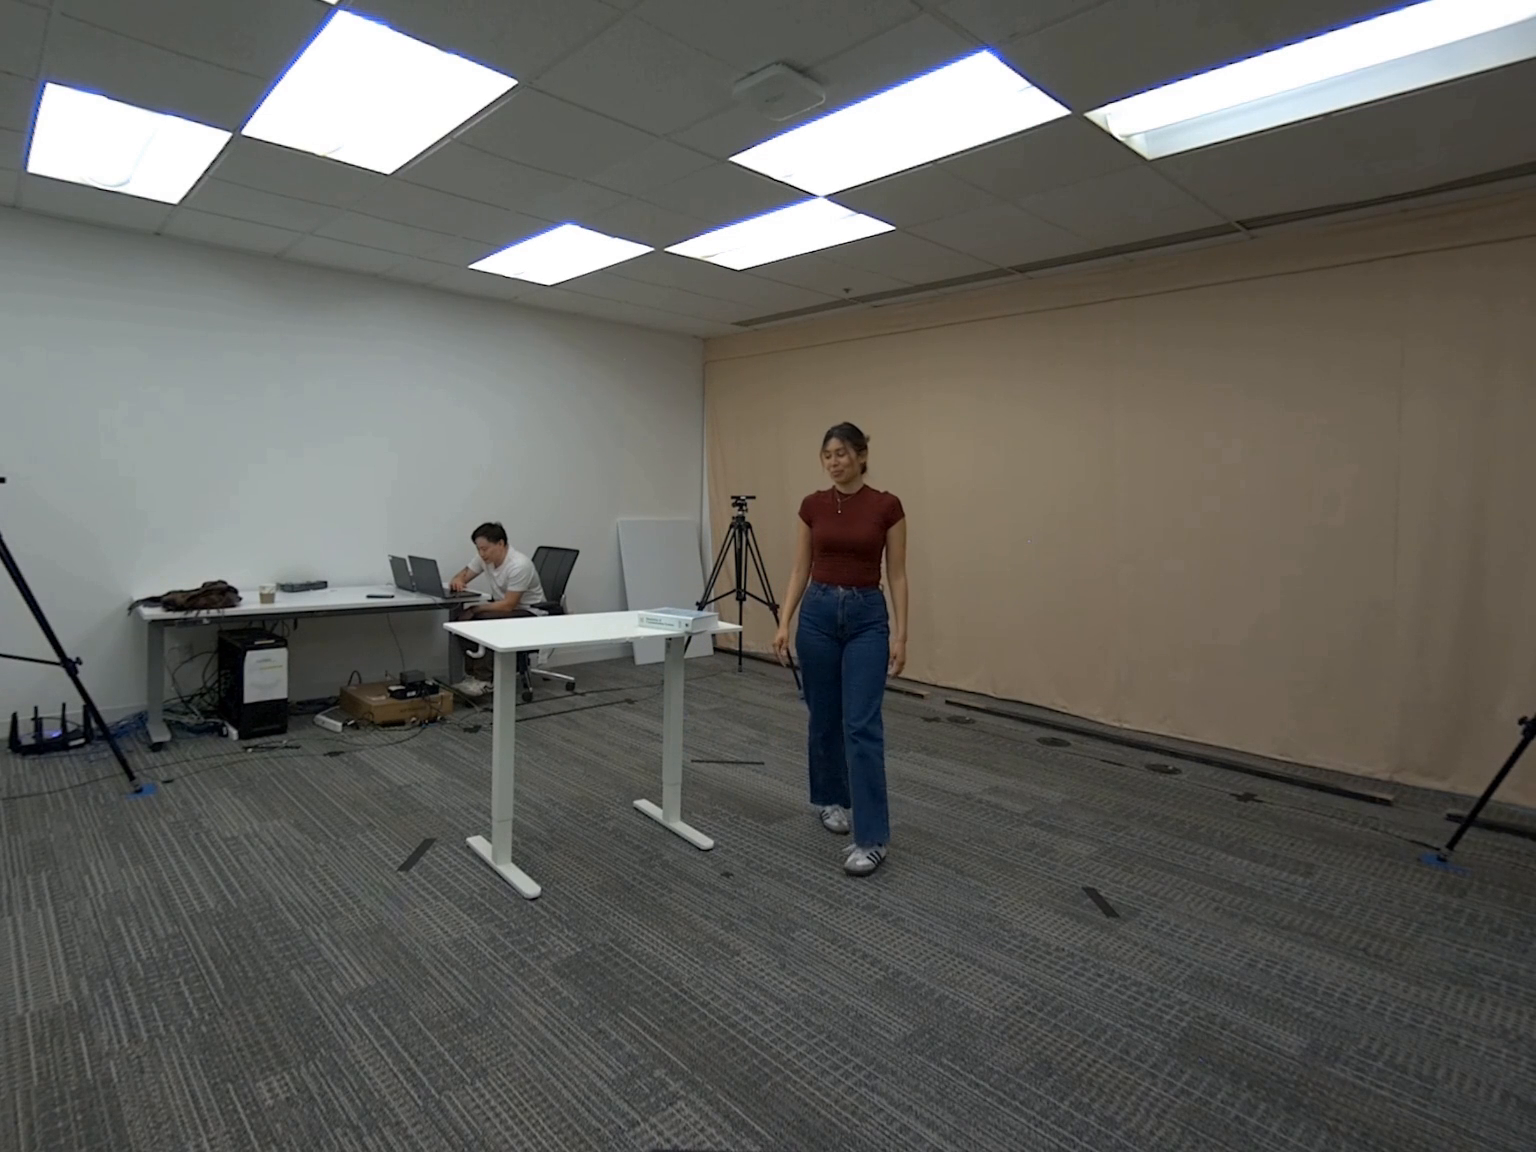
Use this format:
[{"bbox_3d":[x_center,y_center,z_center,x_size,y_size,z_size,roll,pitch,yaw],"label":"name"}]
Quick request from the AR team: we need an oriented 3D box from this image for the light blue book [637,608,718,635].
[{"bbox_3d":[-0.355,0.168,3.301,0.267,0.059,0.187,4,6,32],"label":"light blue book"}]
